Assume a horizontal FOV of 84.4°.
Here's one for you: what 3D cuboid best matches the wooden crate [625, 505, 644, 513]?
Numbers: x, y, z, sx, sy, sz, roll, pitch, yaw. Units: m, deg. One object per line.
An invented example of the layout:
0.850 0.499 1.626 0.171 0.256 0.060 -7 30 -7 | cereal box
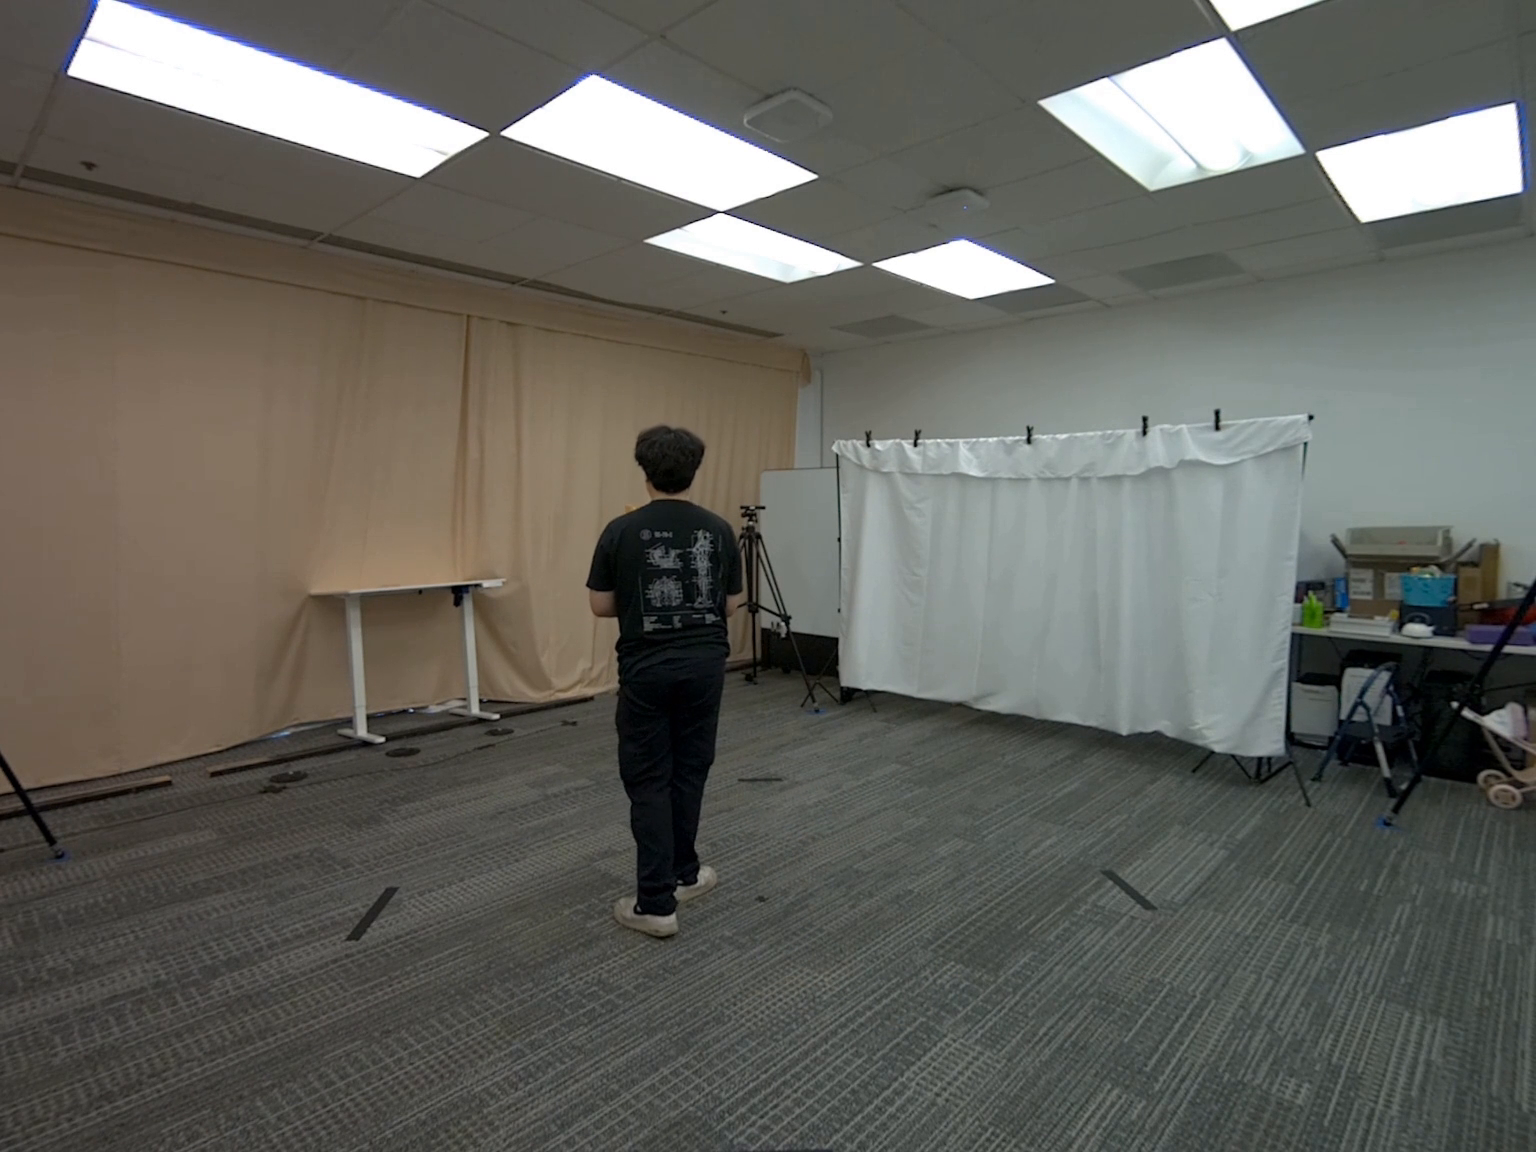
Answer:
-0.366 -0.132 3.321 0.314 0.272 0.313 -1 12 -42 | wooden crate
